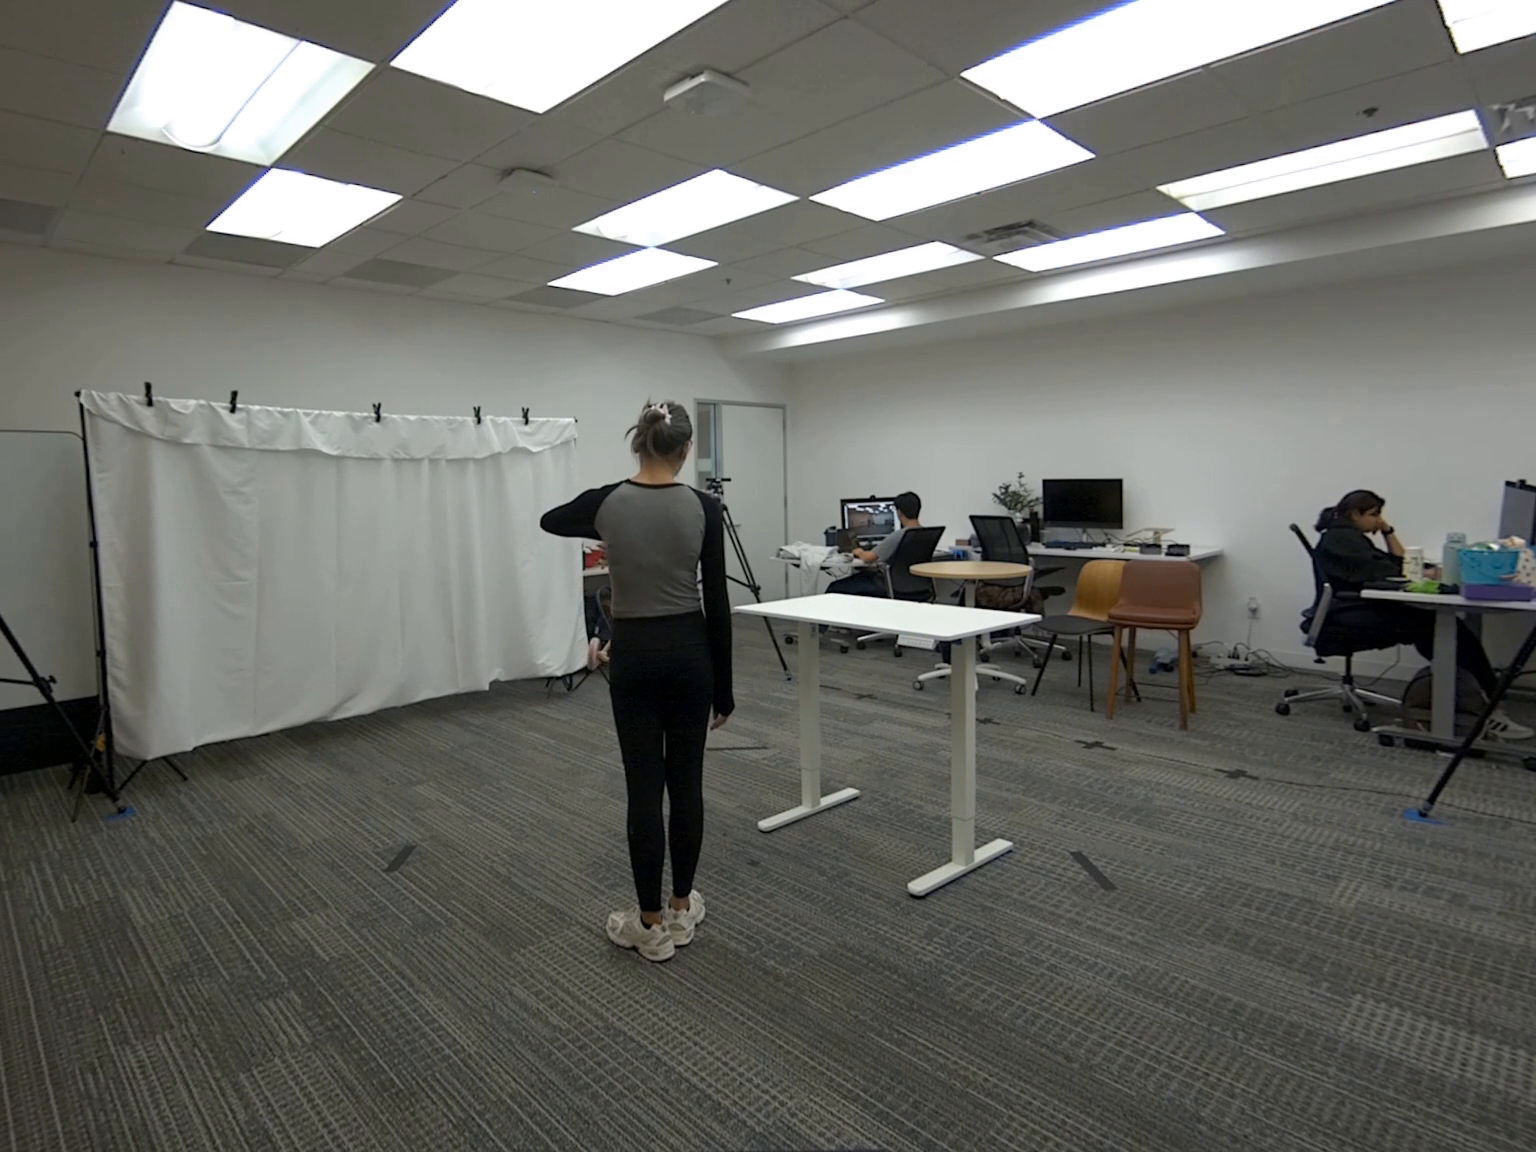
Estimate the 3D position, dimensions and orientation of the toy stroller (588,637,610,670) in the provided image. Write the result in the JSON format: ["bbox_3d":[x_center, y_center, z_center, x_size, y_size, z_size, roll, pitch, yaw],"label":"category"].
[{"bbox_3d":[-0.443,0.125,3.048,0.283,0.535,0.339,7,-1,6],"label":"toy stroller"}]
